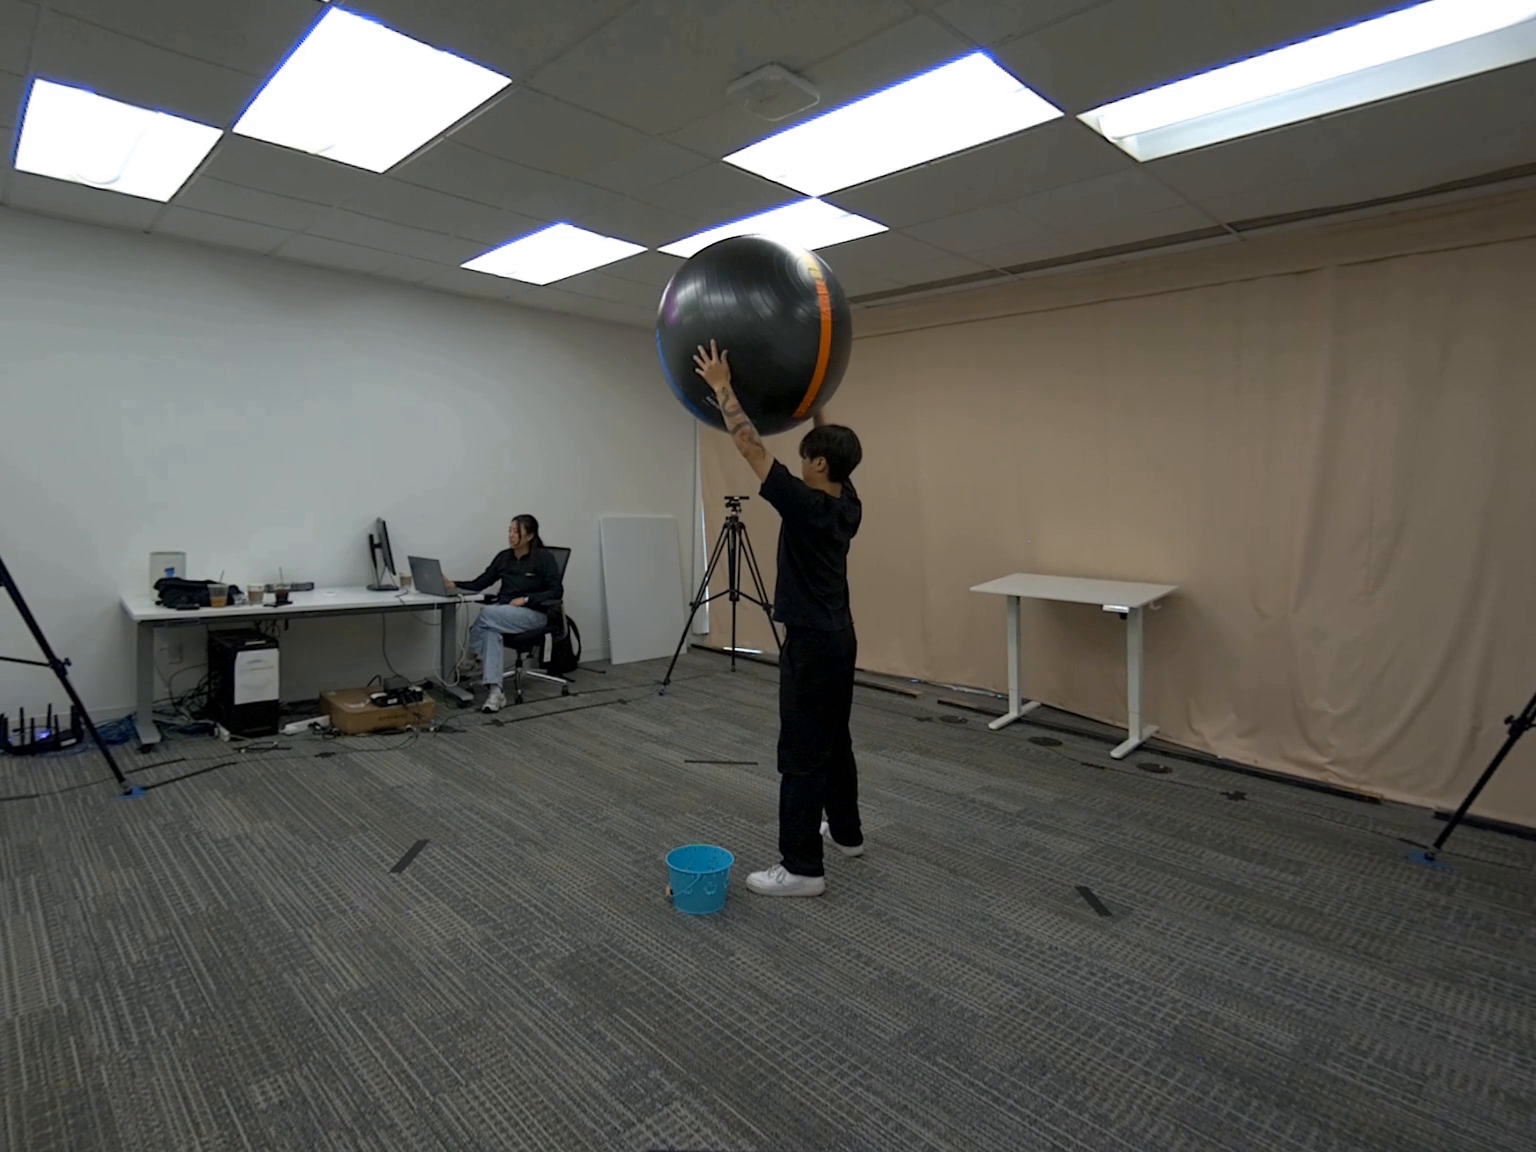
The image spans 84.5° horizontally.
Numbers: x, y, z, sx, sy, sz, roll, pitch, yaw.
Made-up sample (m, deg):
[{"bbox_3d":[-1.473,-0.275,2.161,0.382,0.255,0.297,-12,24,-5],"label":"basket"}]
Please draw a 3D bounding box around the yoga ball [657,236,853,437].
[{"bbox_3d":[-0.057,-0.916,3.251,0.757,0.756,0.761,1,4,-1],"label":"yoga ball"}]
